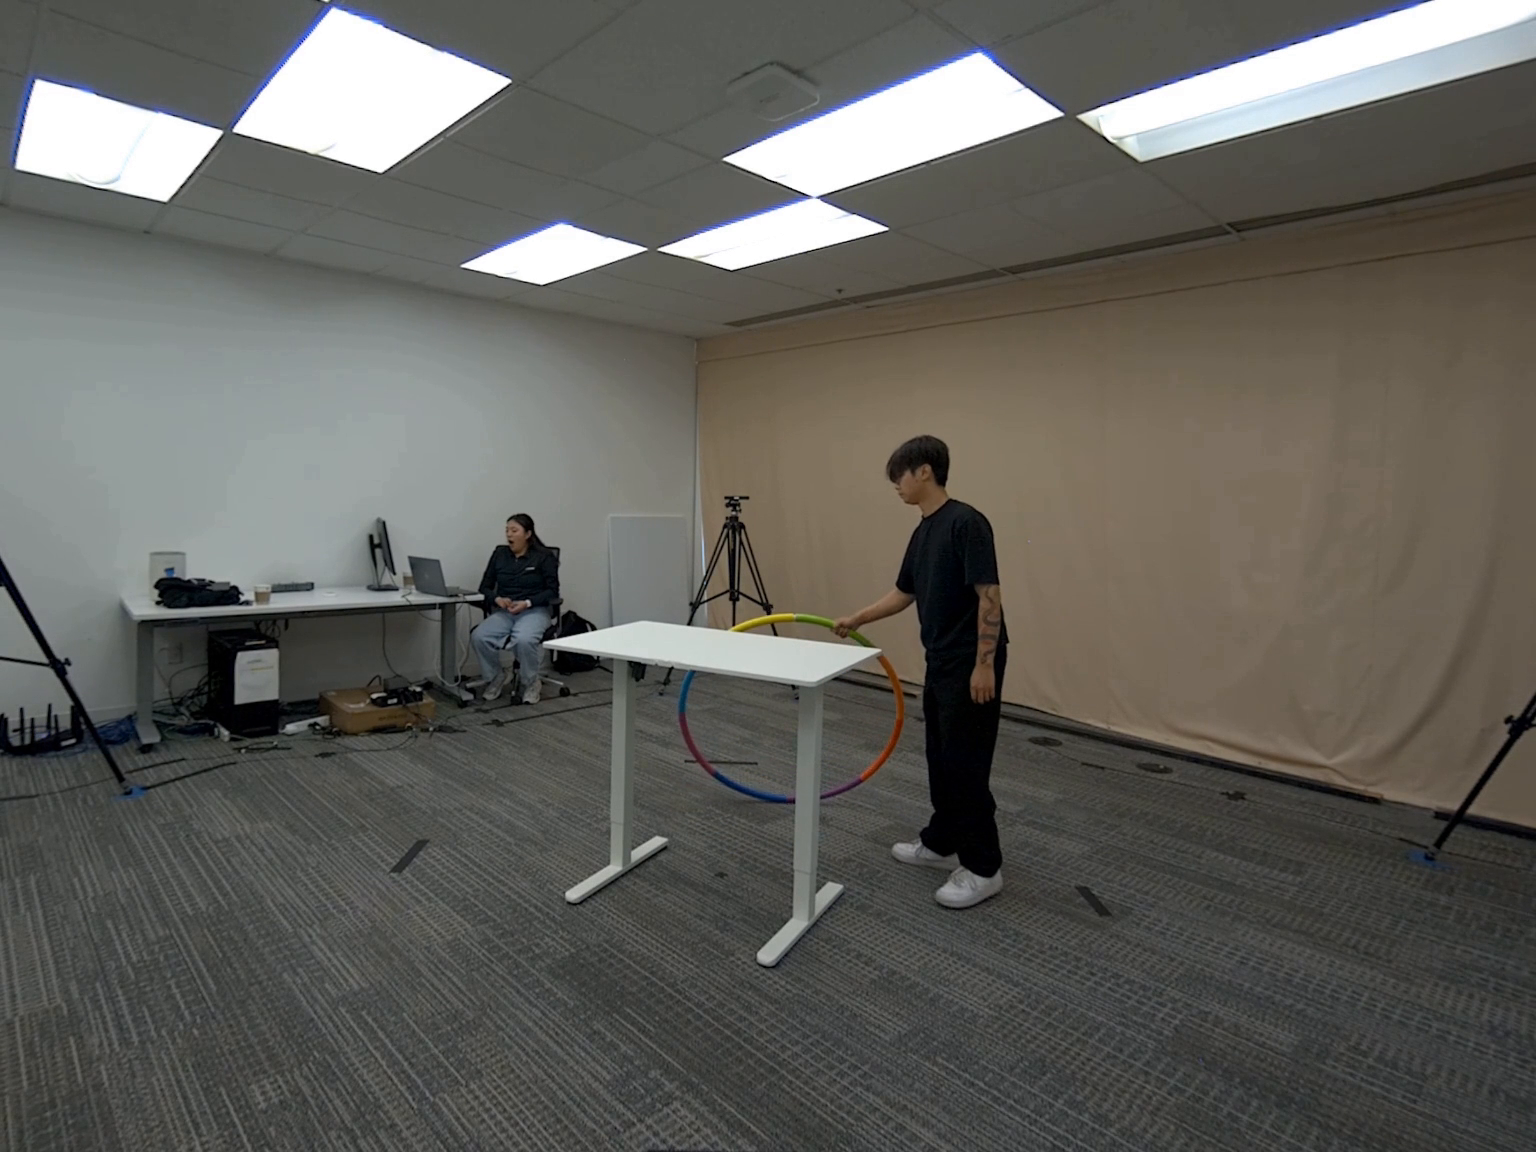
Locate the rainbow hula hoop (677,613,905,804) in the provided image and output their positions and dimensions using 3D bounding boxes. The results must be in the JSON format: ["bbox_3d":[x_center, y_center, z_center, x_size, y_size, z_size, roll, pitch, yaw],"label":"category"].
[{"bbox_3d":[0.087,0.607,3.681,0.980,0.962,0.036,2,26,2],"label":"rainbow hula hoop"}]
